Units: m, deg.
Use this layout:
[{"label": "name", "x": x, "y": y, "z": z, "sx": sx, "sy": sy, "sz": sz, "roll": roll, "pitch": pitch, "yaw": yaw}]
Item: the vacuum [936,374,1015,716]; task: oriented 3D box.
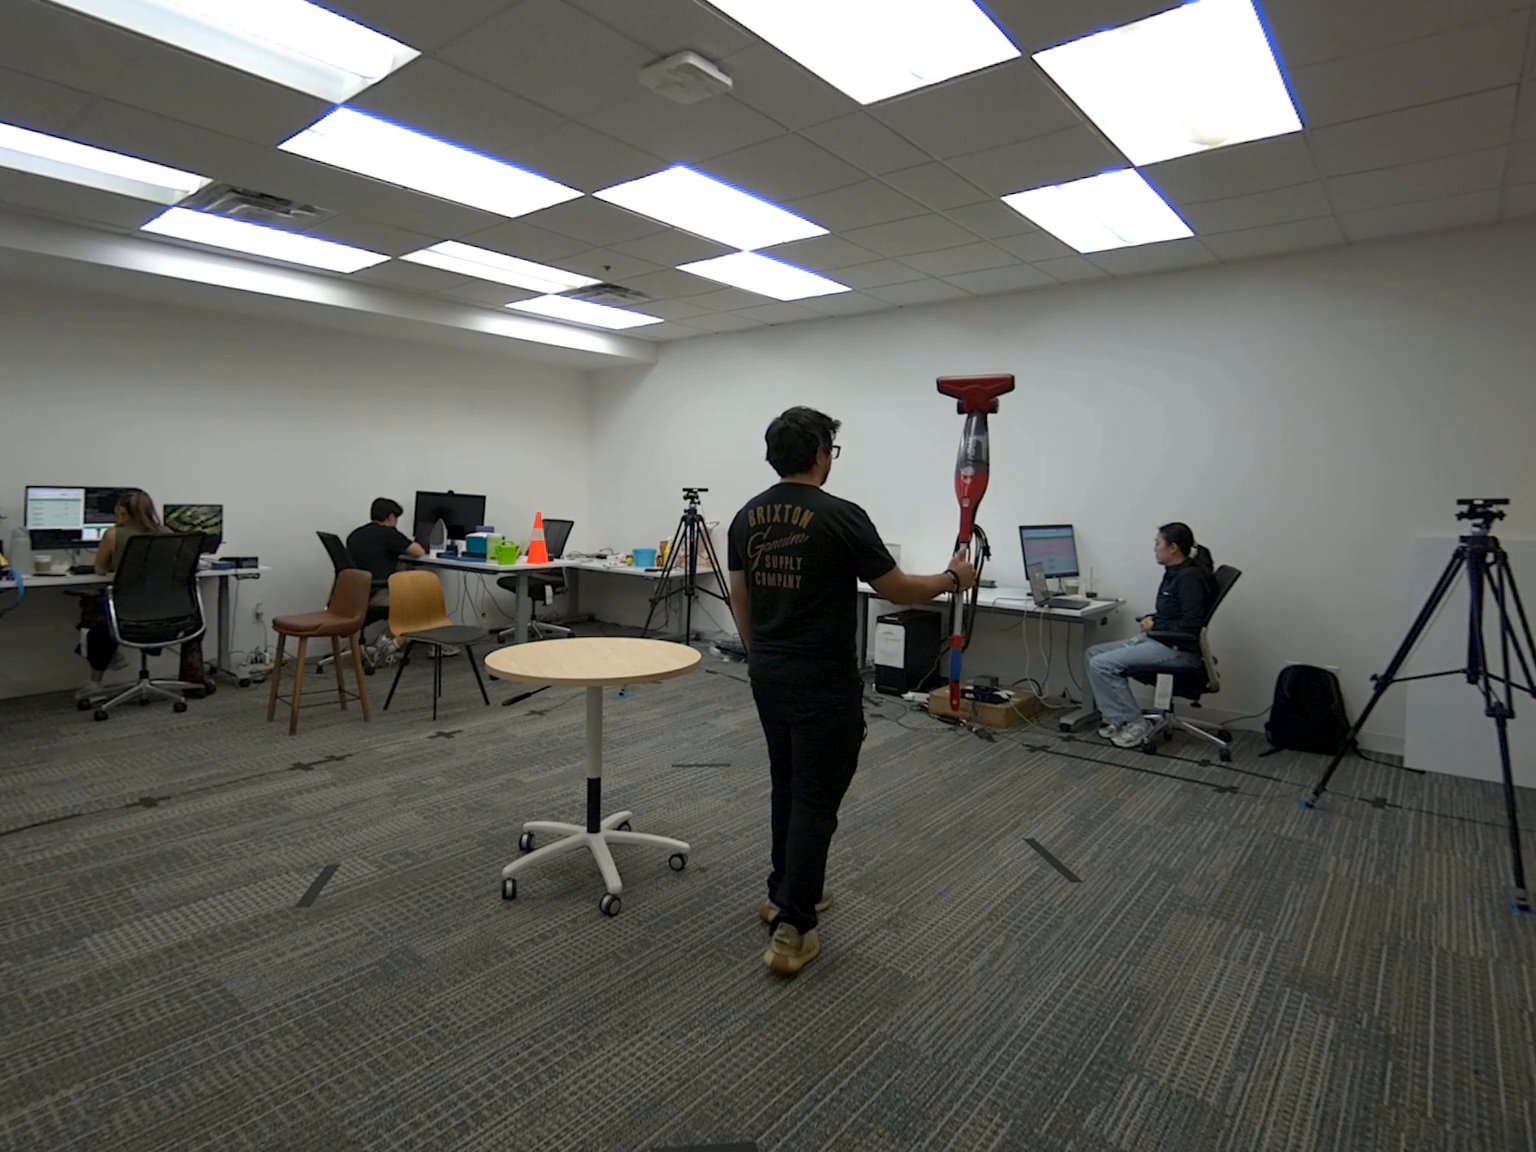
[{"label": "vacuum", "x": 0.663, "y": -0.112, "z": 2.808, "sx": 0.258, "sy": 1.055, "sz": 0.140, "roll": 2, "pitch": -6, "yaw": 22}]
